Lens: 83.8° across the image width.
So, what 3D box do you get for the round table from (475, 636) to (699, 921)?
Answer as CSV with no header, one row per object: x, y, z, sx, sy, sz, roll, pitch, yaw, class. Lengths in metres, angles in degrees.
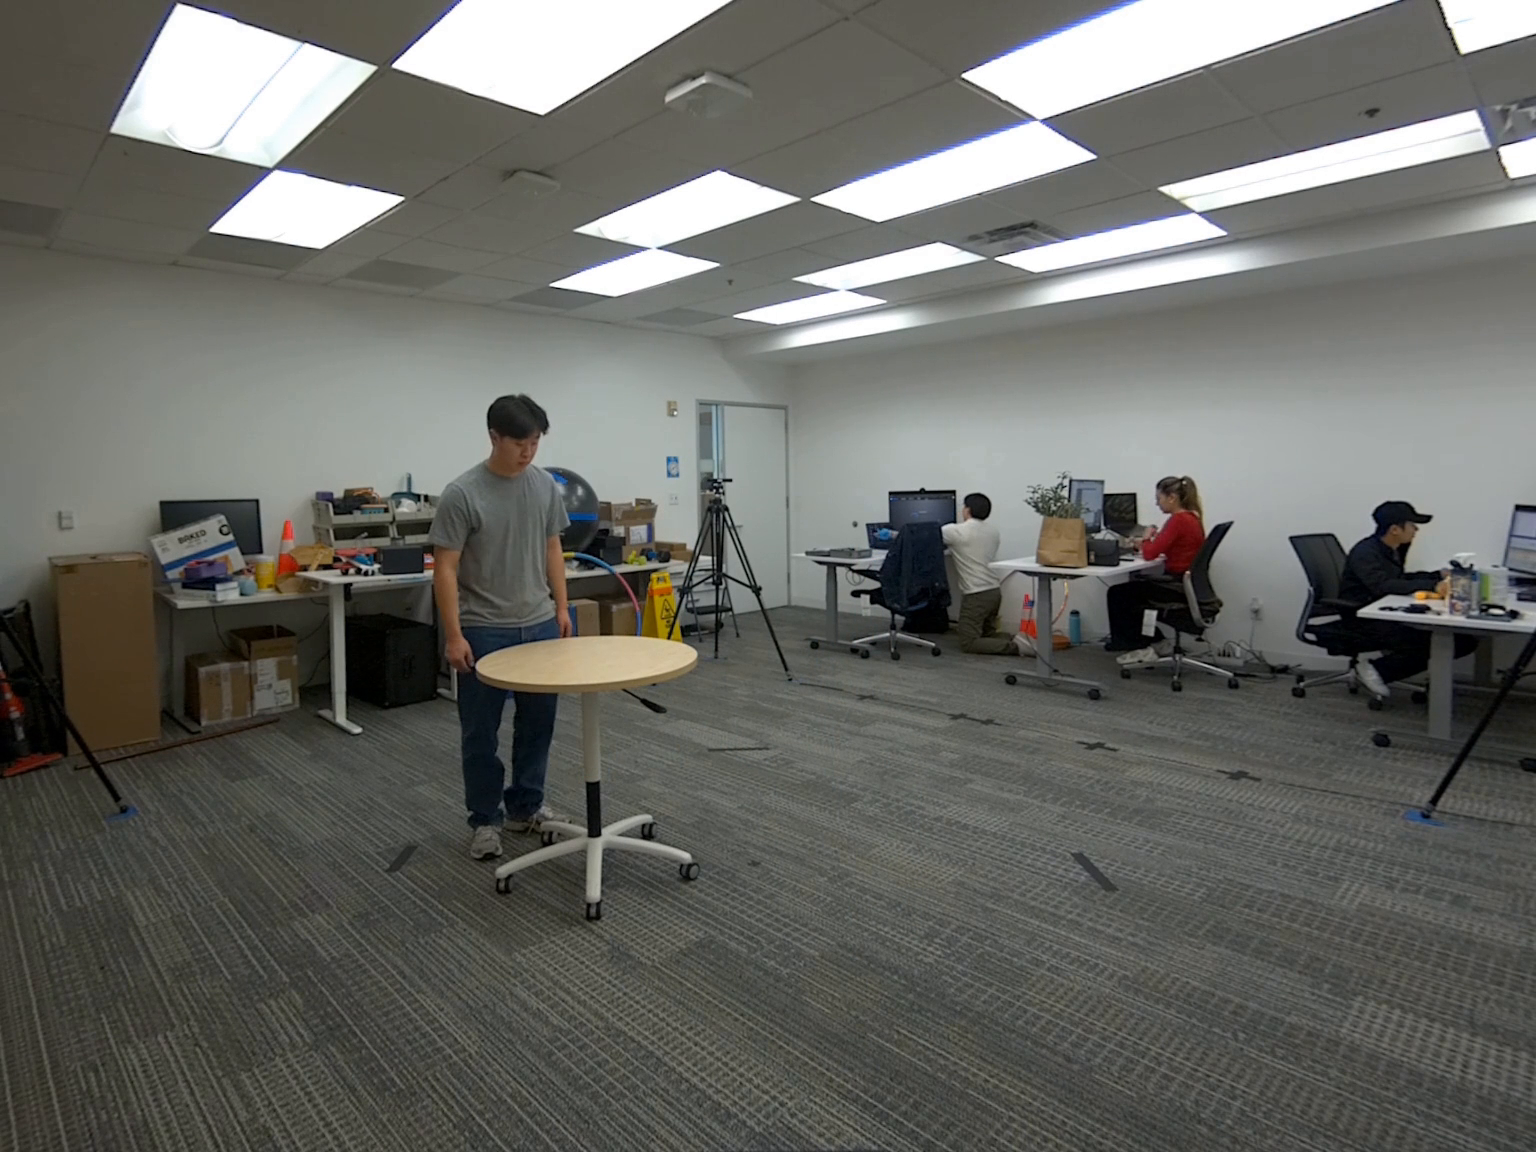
-0.612,0.678,3.022,0.763,0.791,0.768,-2,5,-2,round table
